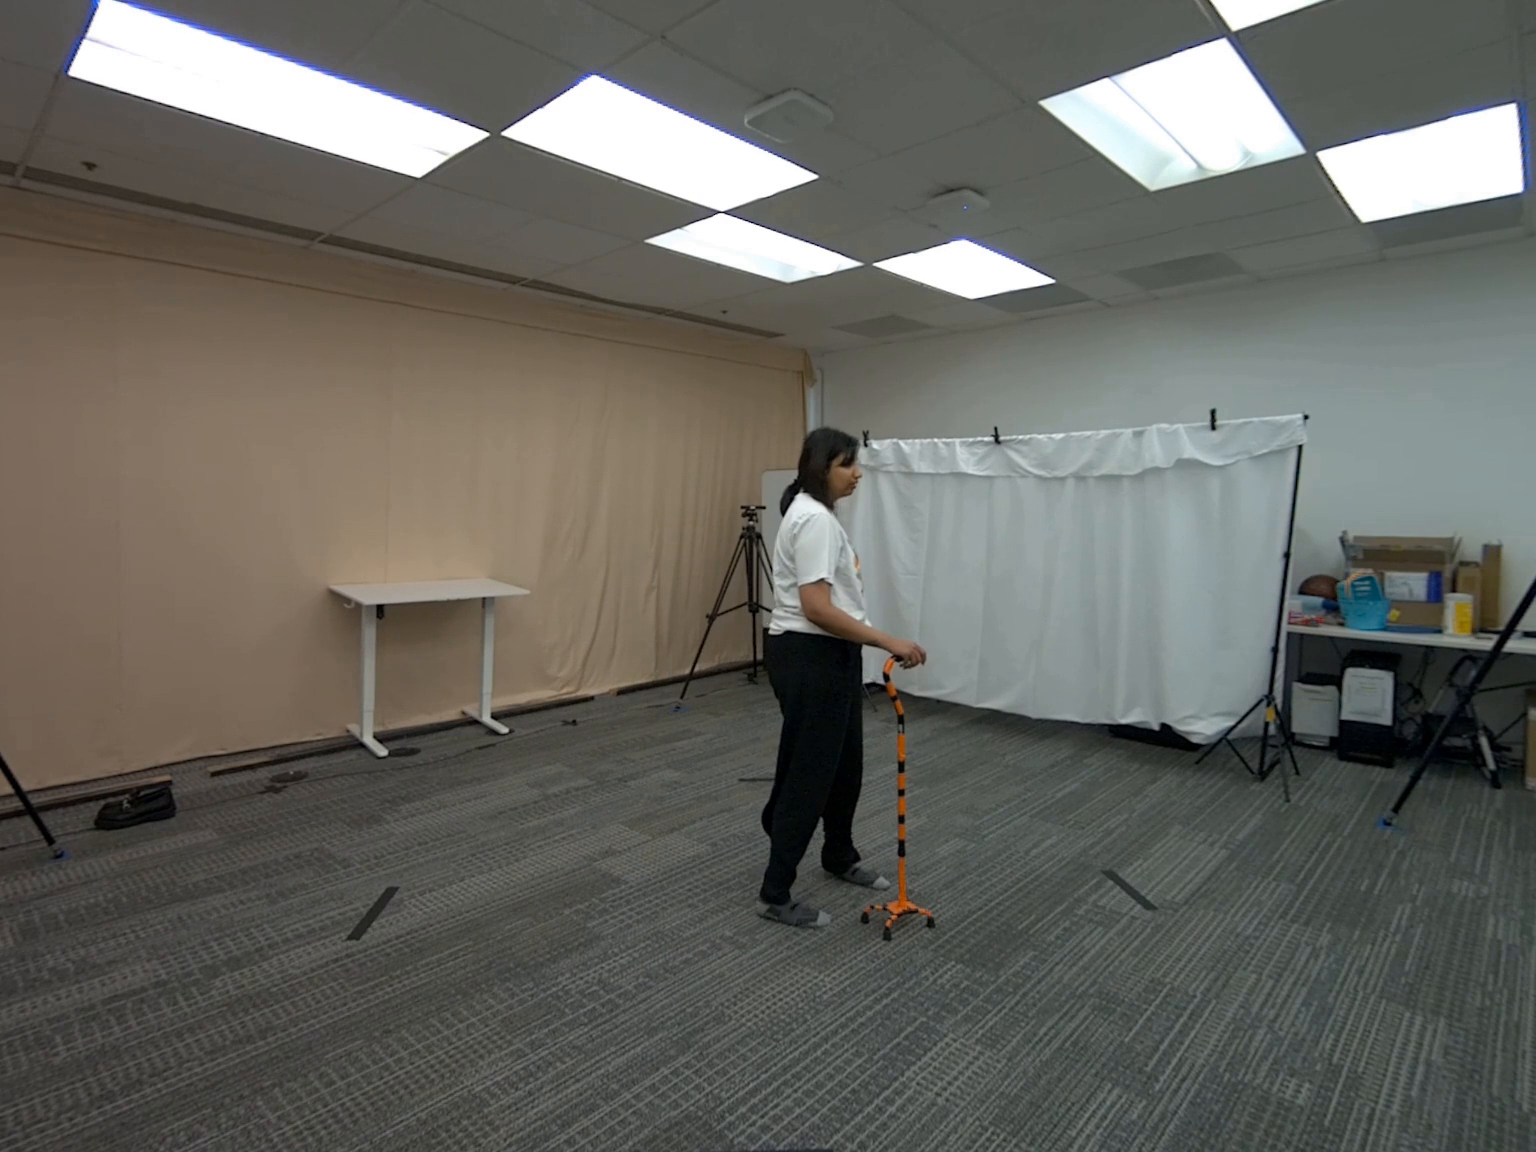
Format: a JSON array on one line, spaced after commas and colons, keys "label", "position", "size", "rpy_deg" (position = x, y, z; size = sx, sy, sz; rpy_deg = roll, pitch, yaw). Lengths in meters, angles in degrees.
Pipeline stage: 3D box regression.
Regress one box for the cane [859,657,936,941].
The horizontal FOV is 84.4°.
[{"label": "cane", "position": [0.445, 0.709, 2.773], "size": [0.201, 0.907, 0.156], "rpy_deg": [0, 2, -30]}]
